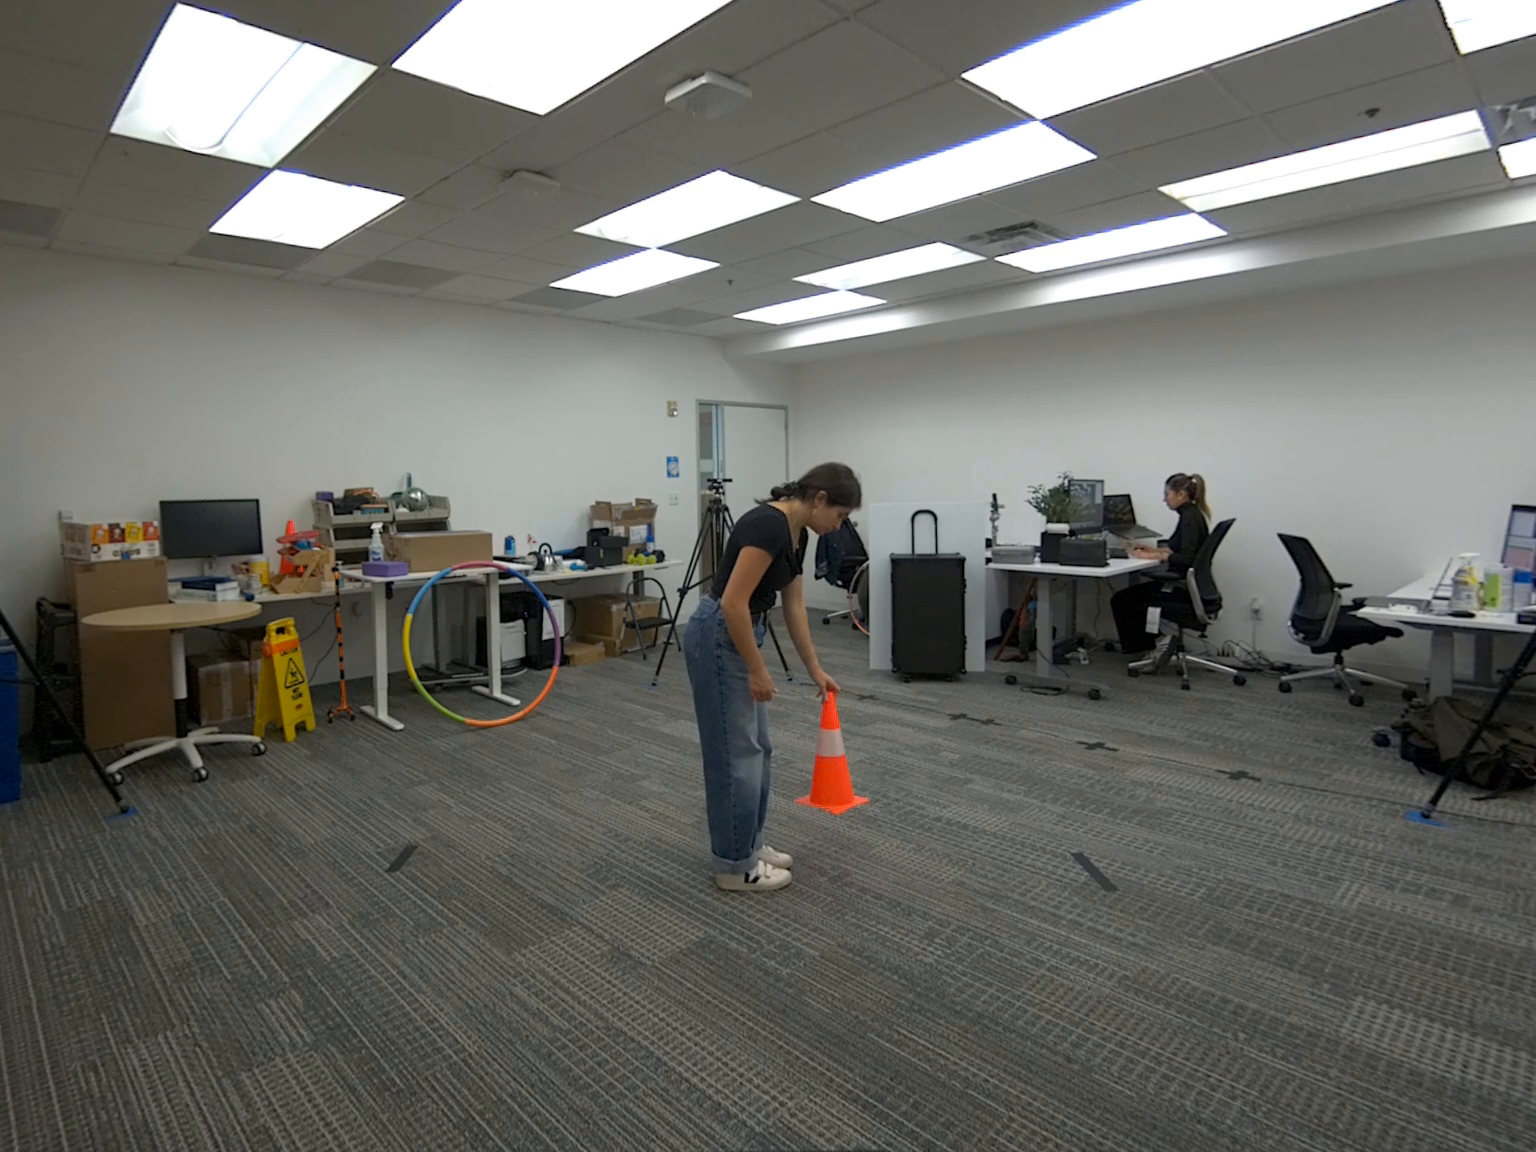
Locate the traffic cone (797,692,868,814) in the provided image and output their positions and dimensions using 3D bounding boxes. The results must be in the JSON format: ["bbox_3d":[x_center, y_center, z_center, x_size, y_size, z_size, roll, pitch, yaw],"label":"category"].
[{"bbox_3d":[0.212,0.598,3.020,0.211,0.384,0.197,-2,-1,39],"label":"traffic cone"}]
